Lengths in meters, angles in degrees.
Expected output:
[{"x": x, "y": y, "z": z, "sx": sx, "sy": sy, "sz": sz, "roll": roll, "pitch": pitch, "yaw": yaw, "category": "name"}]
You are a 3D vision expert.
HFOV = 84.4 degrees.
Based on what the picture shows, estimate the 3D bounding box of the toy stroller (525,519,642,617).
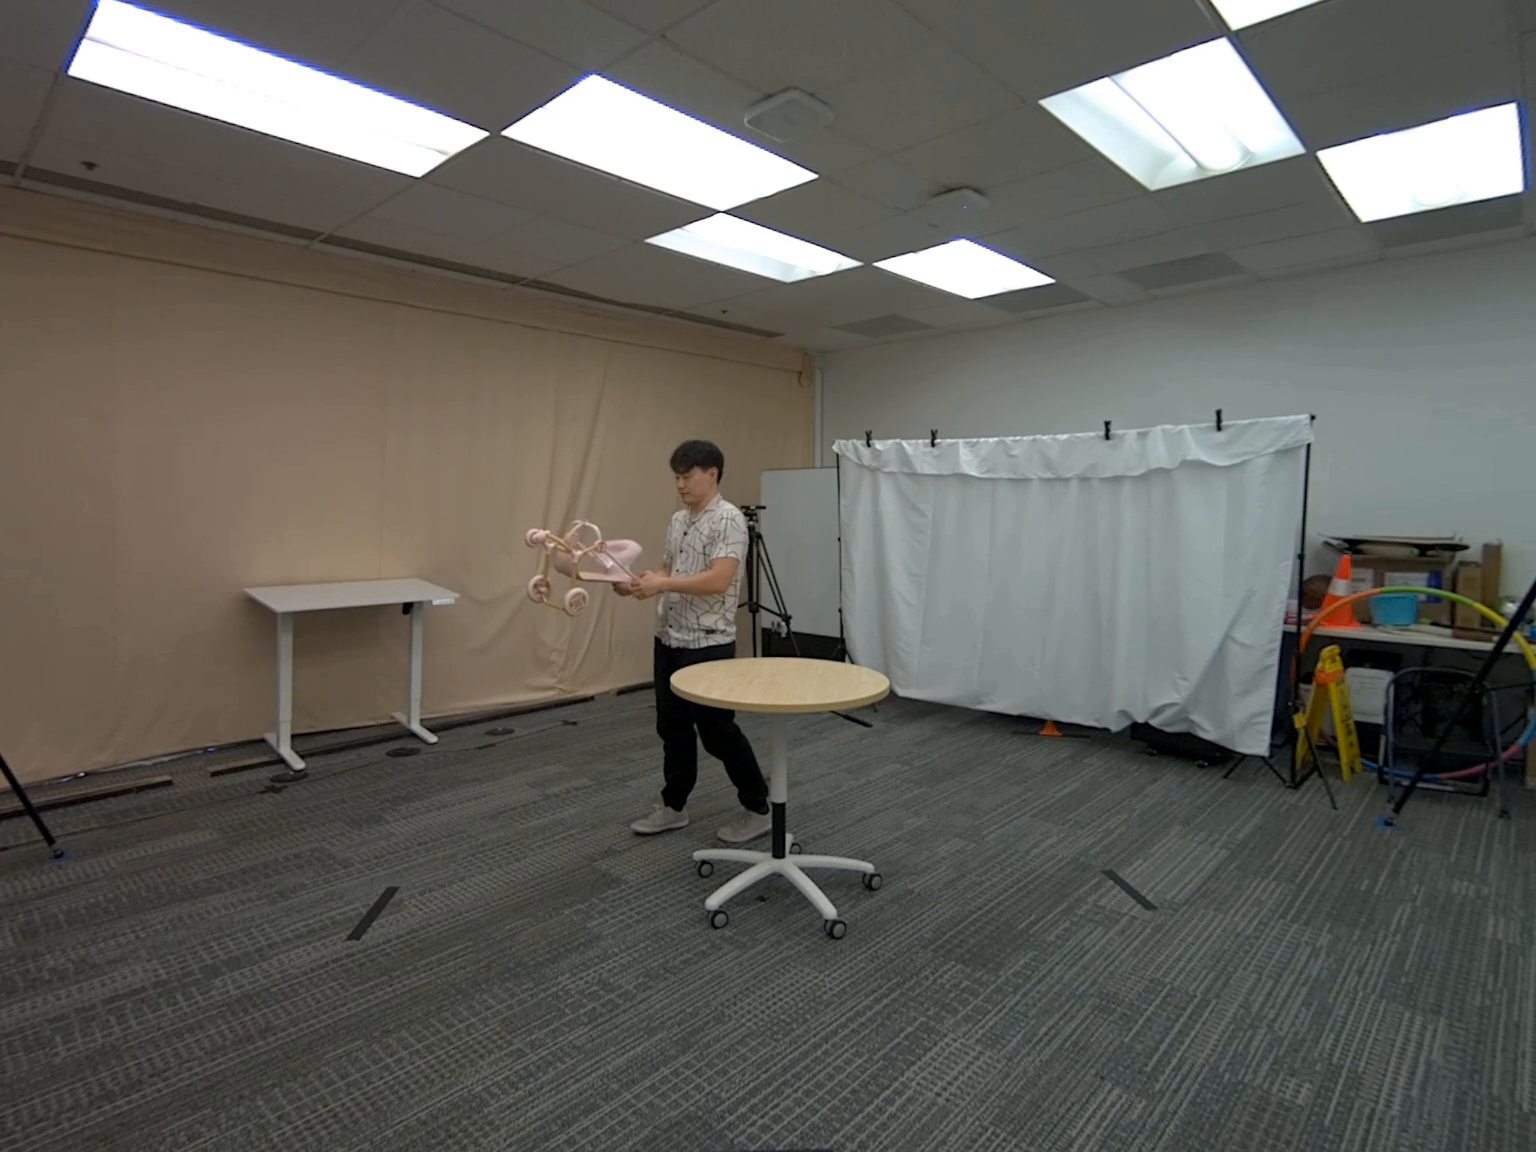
[{"x": -0.698, "y": -0.052, "z": 3.301, "sx": 0.520, "sy": 0.339, "sz": 0.291, "roll": -12, "pitch": 14, "yaw": -43, "category": "toy stroller"}]
